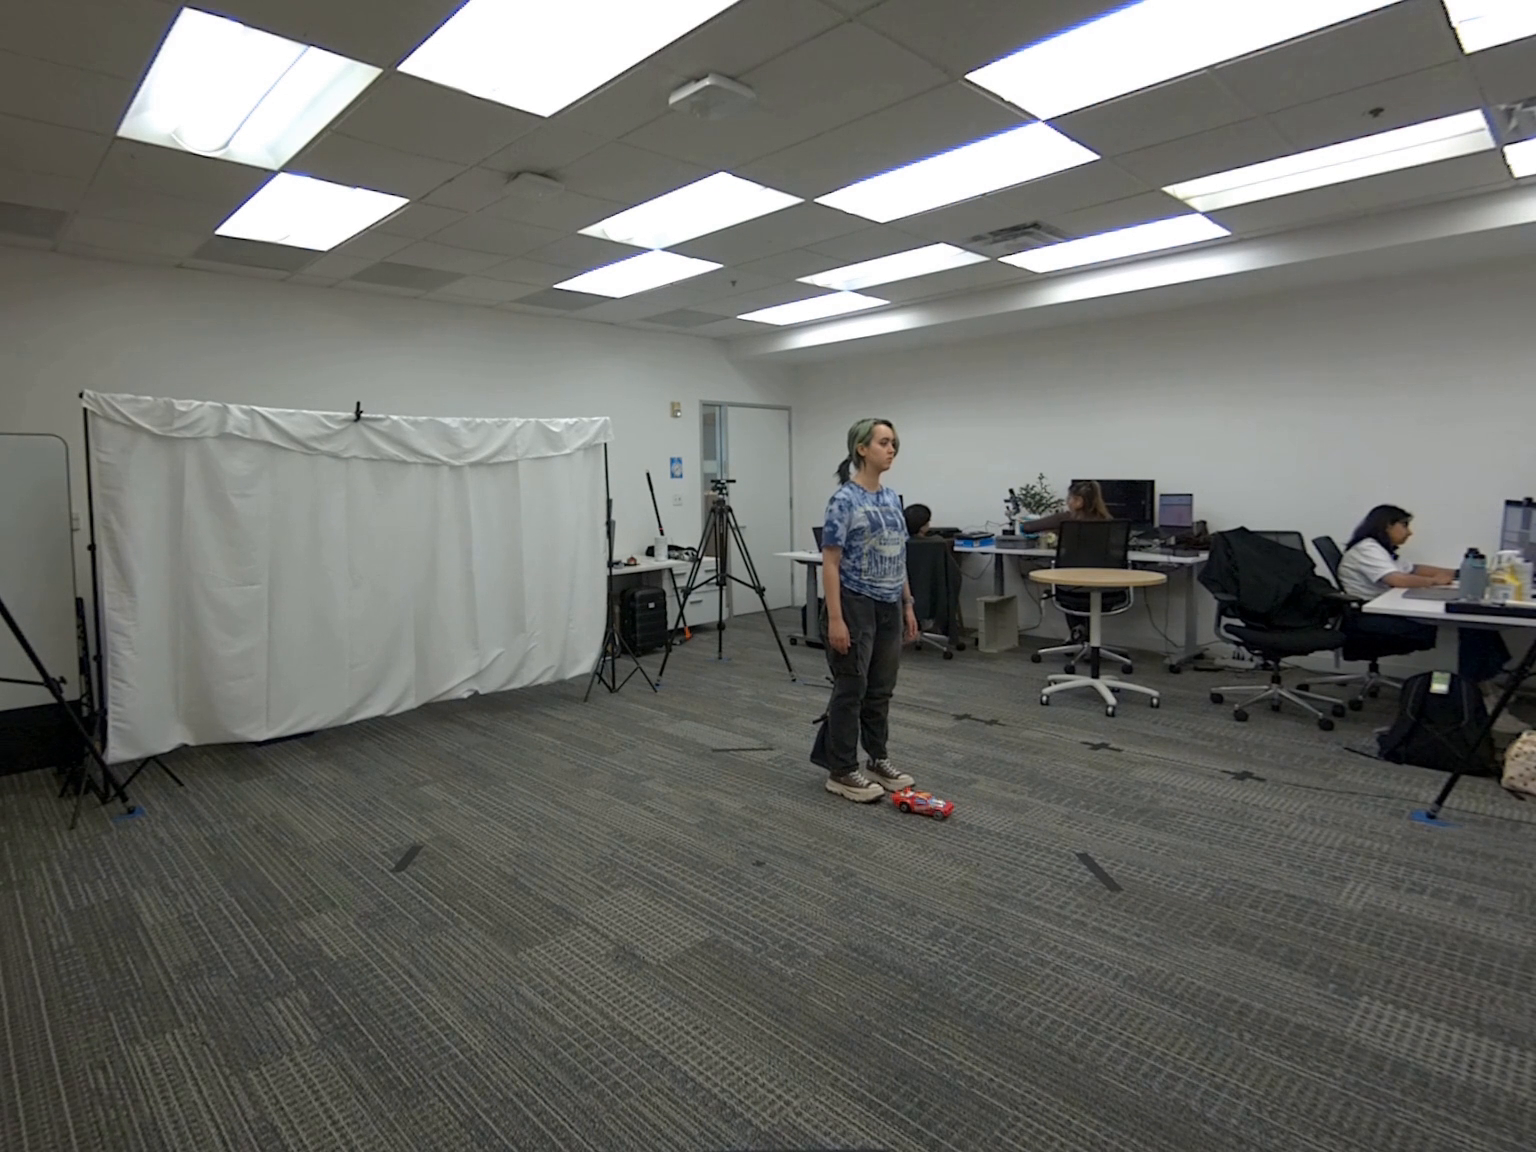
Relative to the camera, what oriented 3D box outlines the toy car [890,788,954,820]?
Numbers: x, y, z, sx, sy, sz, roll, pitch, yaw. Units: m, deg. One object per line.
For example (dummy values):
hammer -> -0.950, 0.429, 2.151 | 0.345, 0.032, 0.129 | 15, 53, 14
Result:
toy car -> 0.641, 0.956, 3.571 | 0.263, 0.082, 0.127 | 15, 14, 33
